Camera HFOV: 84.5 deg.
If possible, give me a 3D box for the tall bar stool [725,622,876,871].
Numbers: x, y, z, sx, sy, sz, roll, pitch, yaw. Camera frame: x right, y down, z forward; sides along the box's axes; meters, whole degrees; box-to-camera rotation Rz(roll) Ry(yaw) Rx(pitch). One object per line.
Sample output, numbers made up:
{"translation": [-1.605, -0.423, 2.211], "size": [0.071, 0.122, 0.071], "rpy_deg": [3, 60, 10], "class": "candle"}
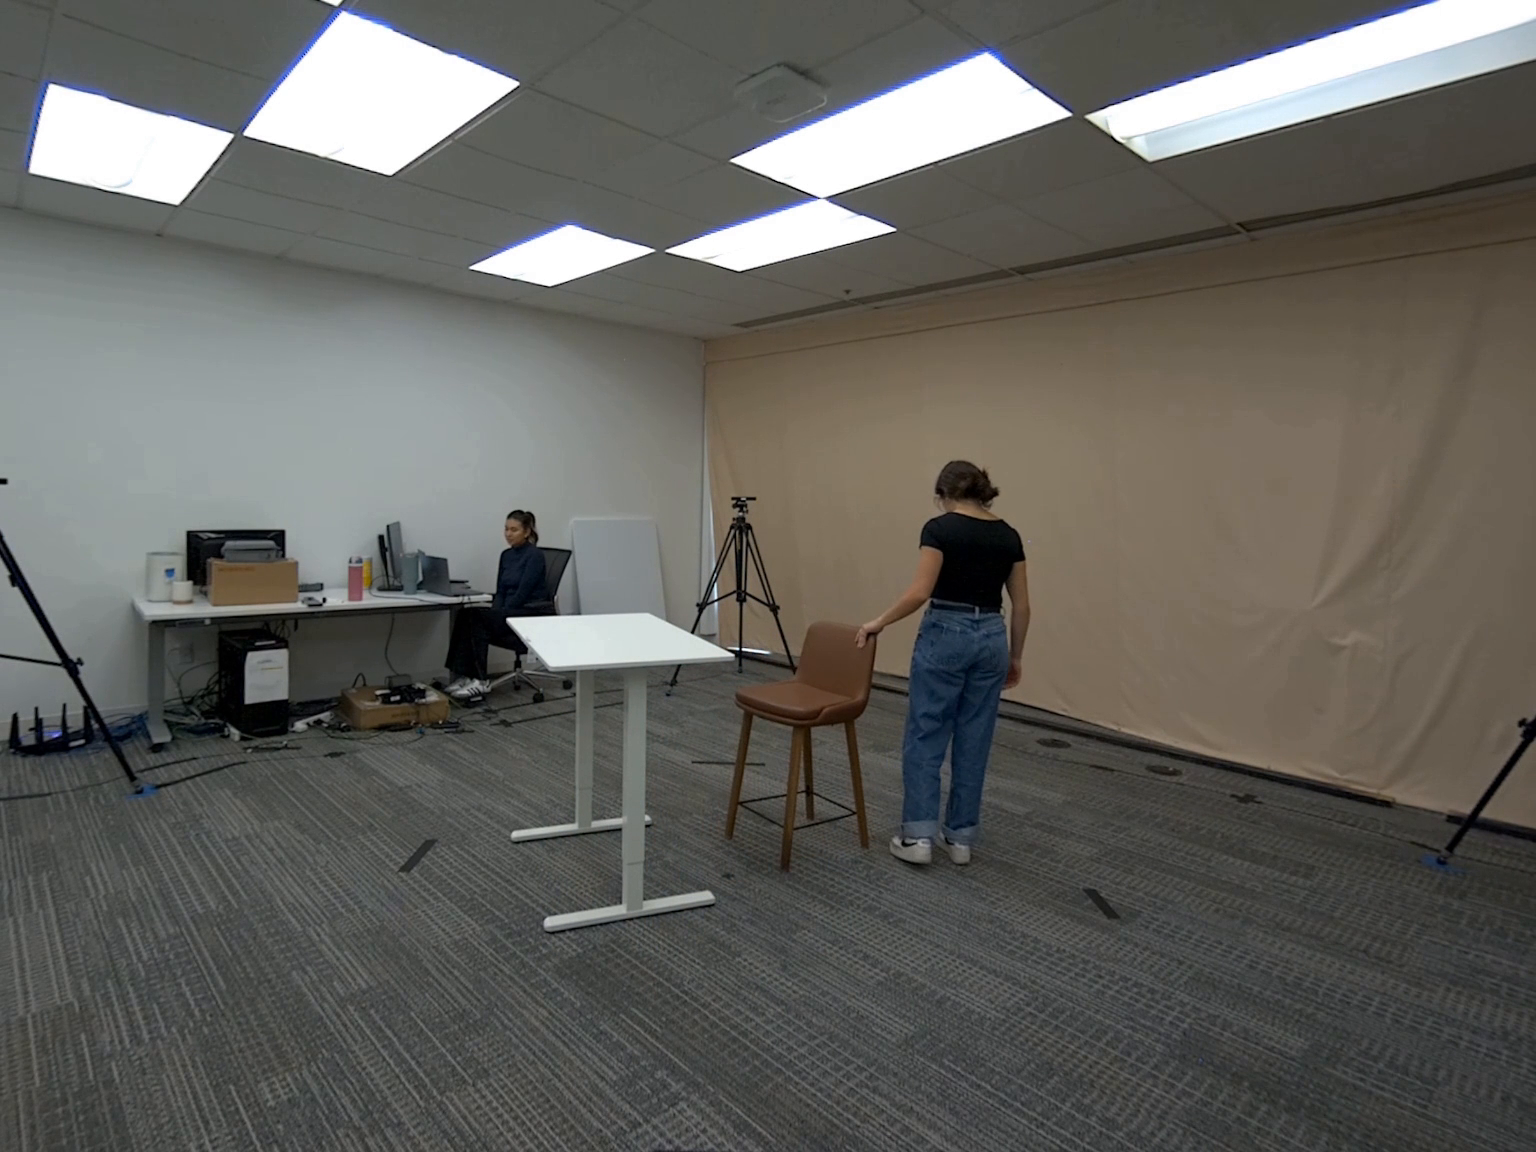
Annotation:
{"translation": [0.131, 0.649, 3.414], "size": [0.457, 0.889, 0.467], "rpy_deg": [2, 2, -35], "class": "tall bar stool"}
